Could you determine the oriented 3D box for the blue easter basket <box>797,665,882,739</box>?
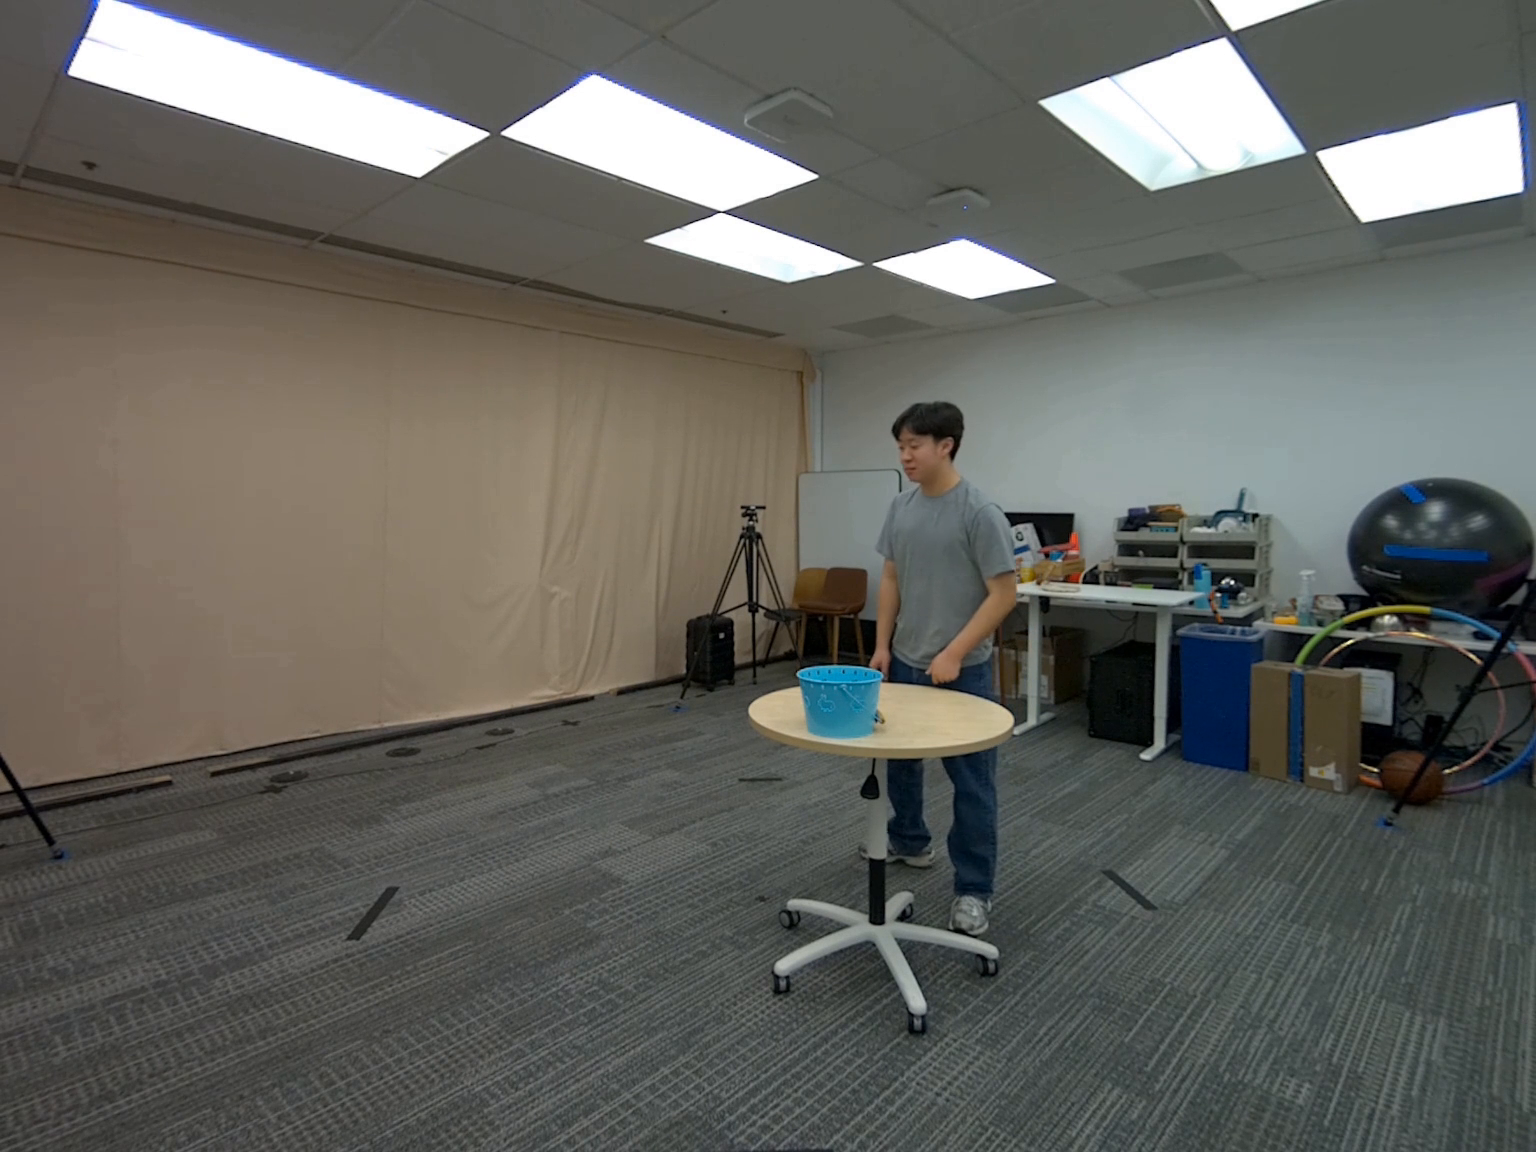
[{"bbox_3d":[0.213,0.350,2.274,0.243,0.155,0.244,0,5,-2],"label":"blue easter basket"}]
